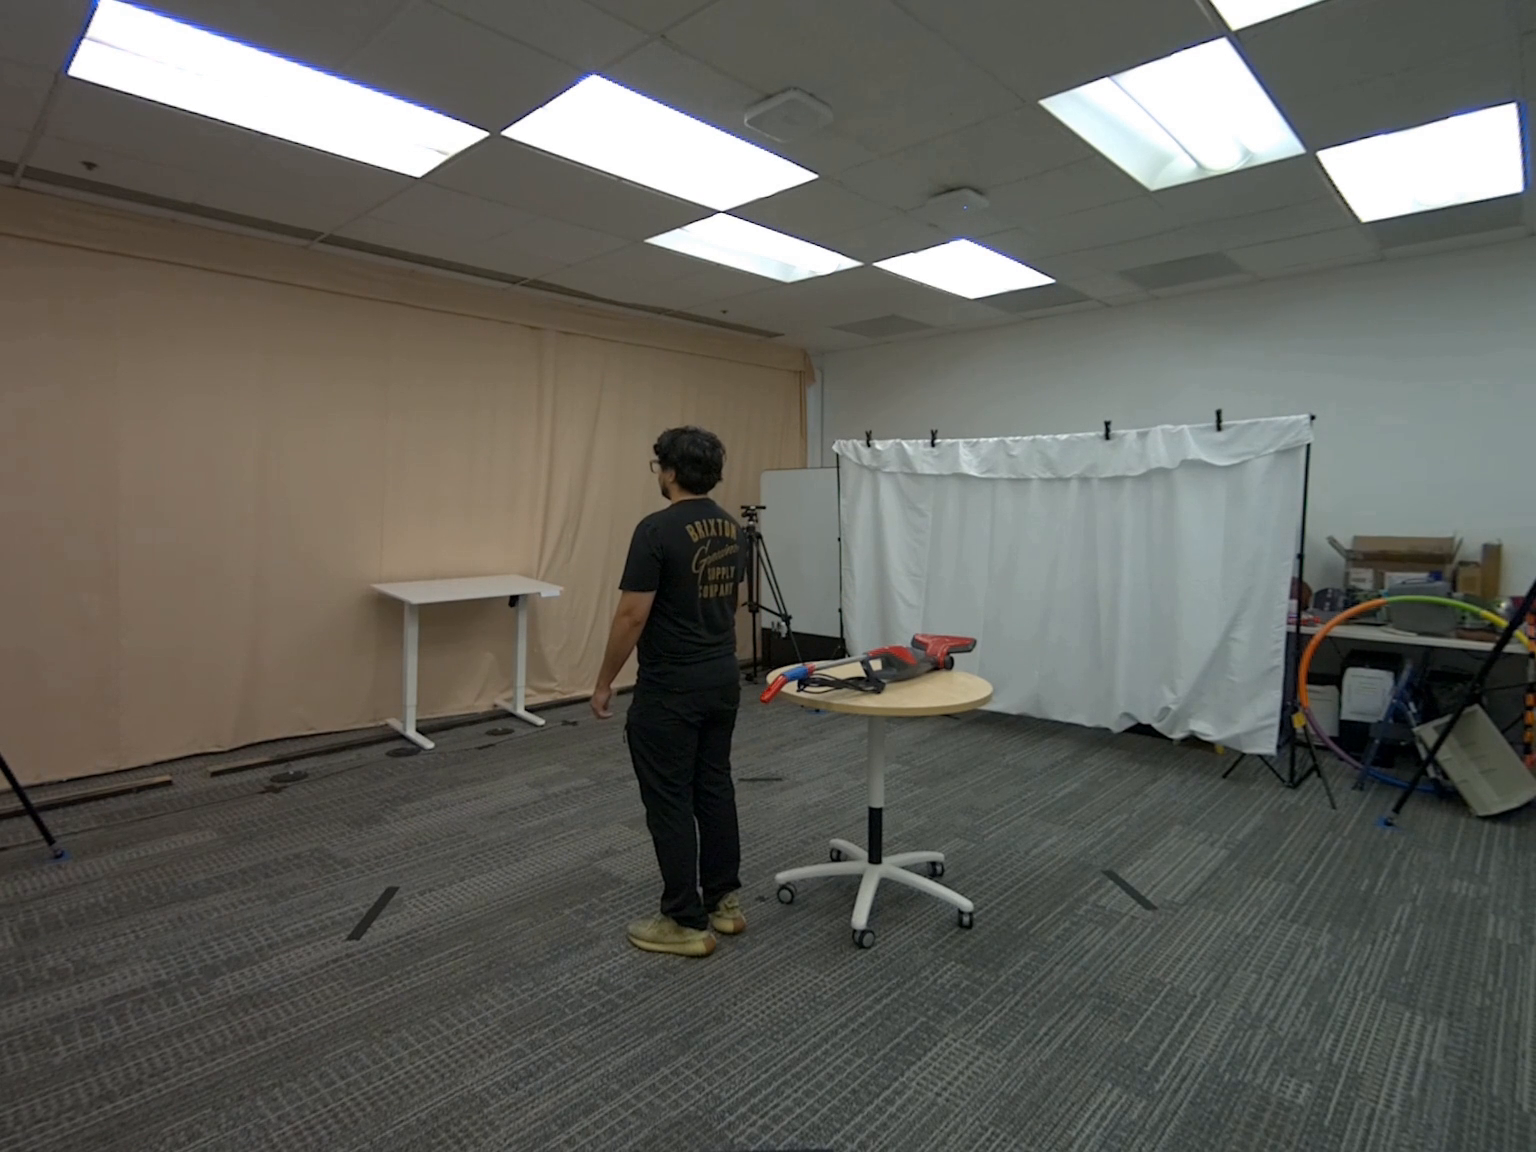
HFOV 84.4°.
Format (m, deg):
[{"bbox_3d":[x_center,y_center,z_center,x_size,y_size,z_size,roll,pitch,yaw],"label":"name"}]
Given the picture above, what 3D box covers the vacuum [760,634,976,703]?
[{"bbox_3d":[0.344,0.330,2.771,0.260,0.144,1.017,-4,-1,43],"label":"vacuum"}]
